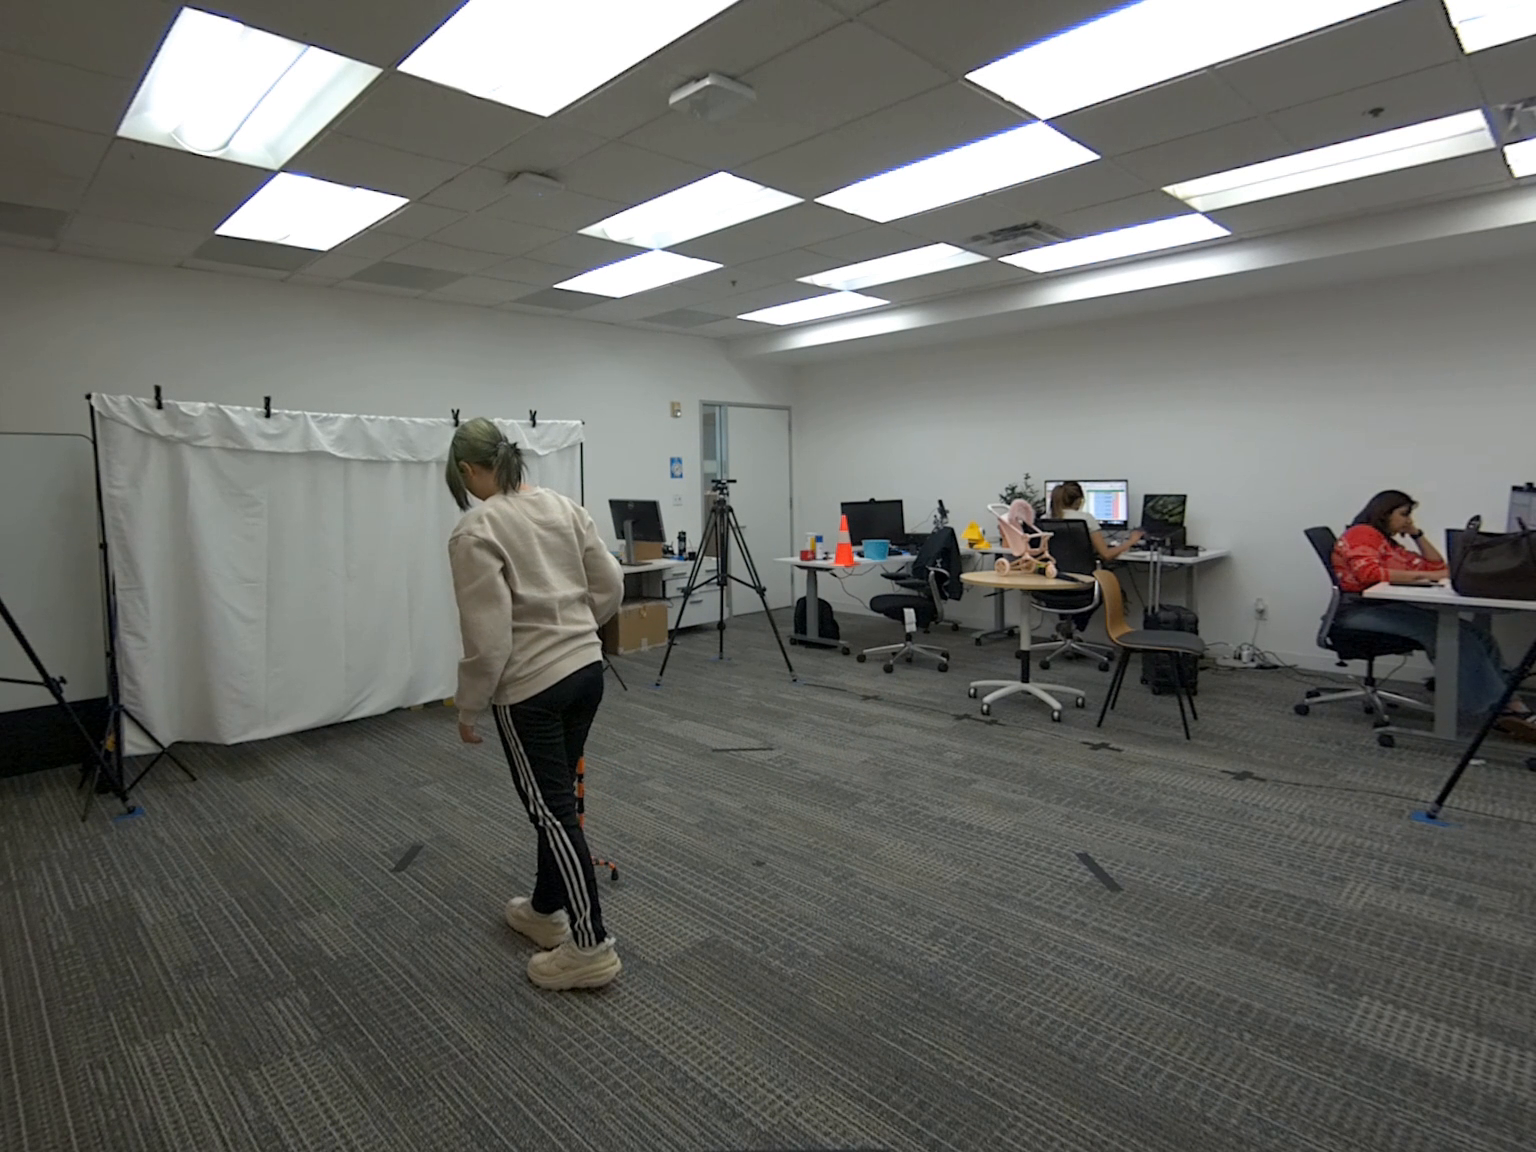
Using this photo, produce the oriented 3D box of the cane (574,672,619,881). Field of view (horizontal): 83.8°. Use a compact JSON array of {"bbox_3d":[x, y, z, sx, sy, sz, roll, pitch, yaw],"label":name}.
[{"bbox_3d":[-0.635,0.608,2.960,0.213,0.903,0.148,4,7,40],"label":"cane"}]
